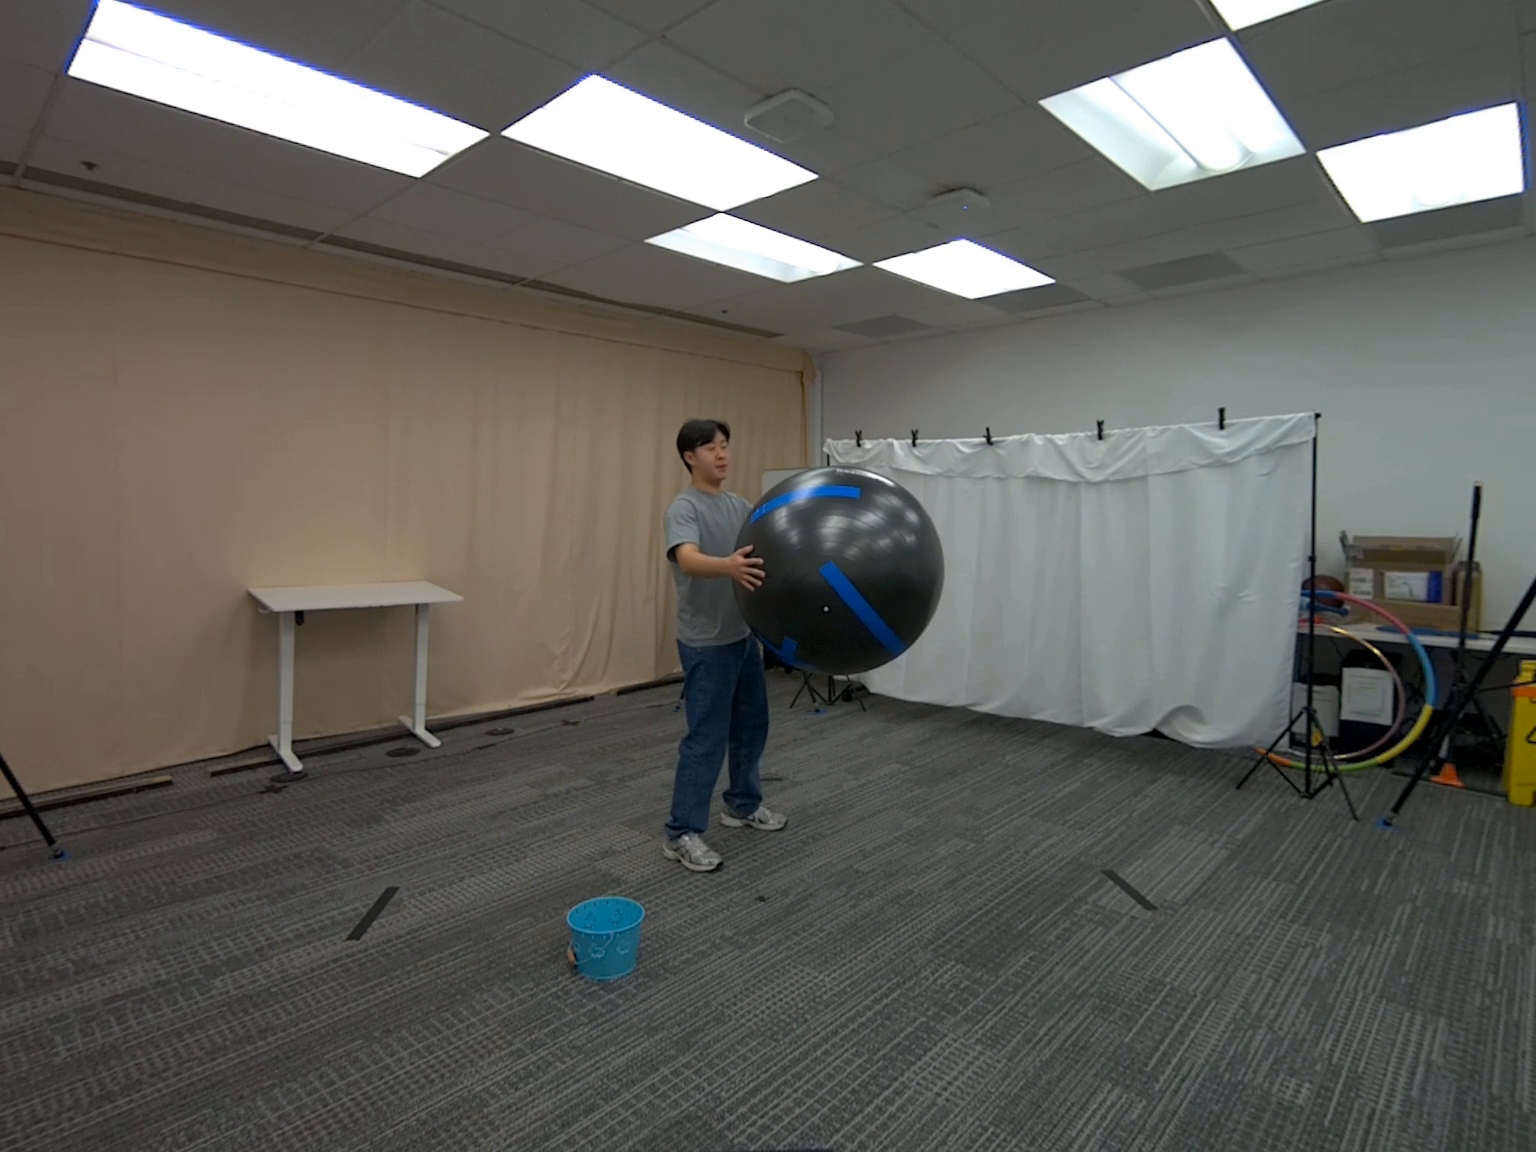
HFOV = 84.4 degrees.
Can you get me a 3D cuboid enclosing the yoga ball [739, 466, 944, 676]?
[{"bbox_3d":[0.250,-0.015,3.065,0.757,0.756,0.760,0,4,-2],"label":"yoga ball"}]
